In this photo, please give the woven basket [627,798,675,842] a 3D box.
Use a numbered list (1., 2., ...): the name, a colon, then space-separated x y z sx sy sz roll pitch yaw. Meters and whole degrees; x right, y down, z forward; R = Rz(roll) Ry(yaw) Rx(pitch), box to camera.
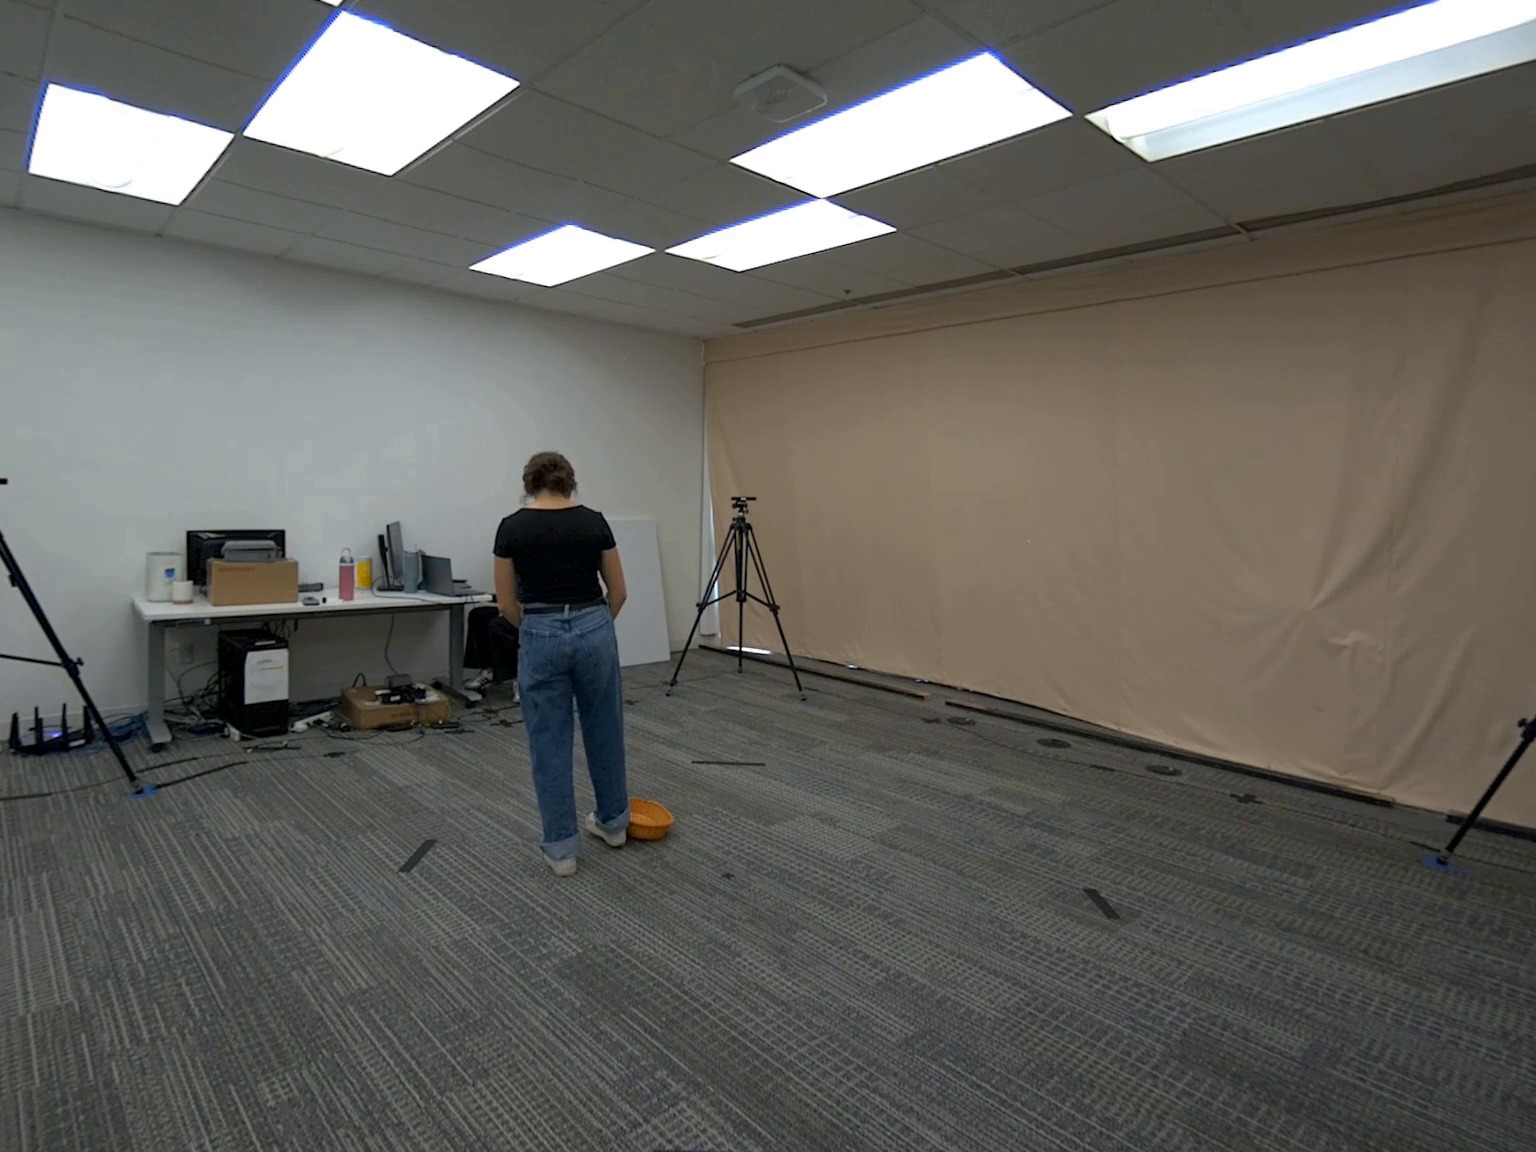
1. woven basket: -0.542 1.015 3.502 0.248 0.073 0.357 8 1 -23
